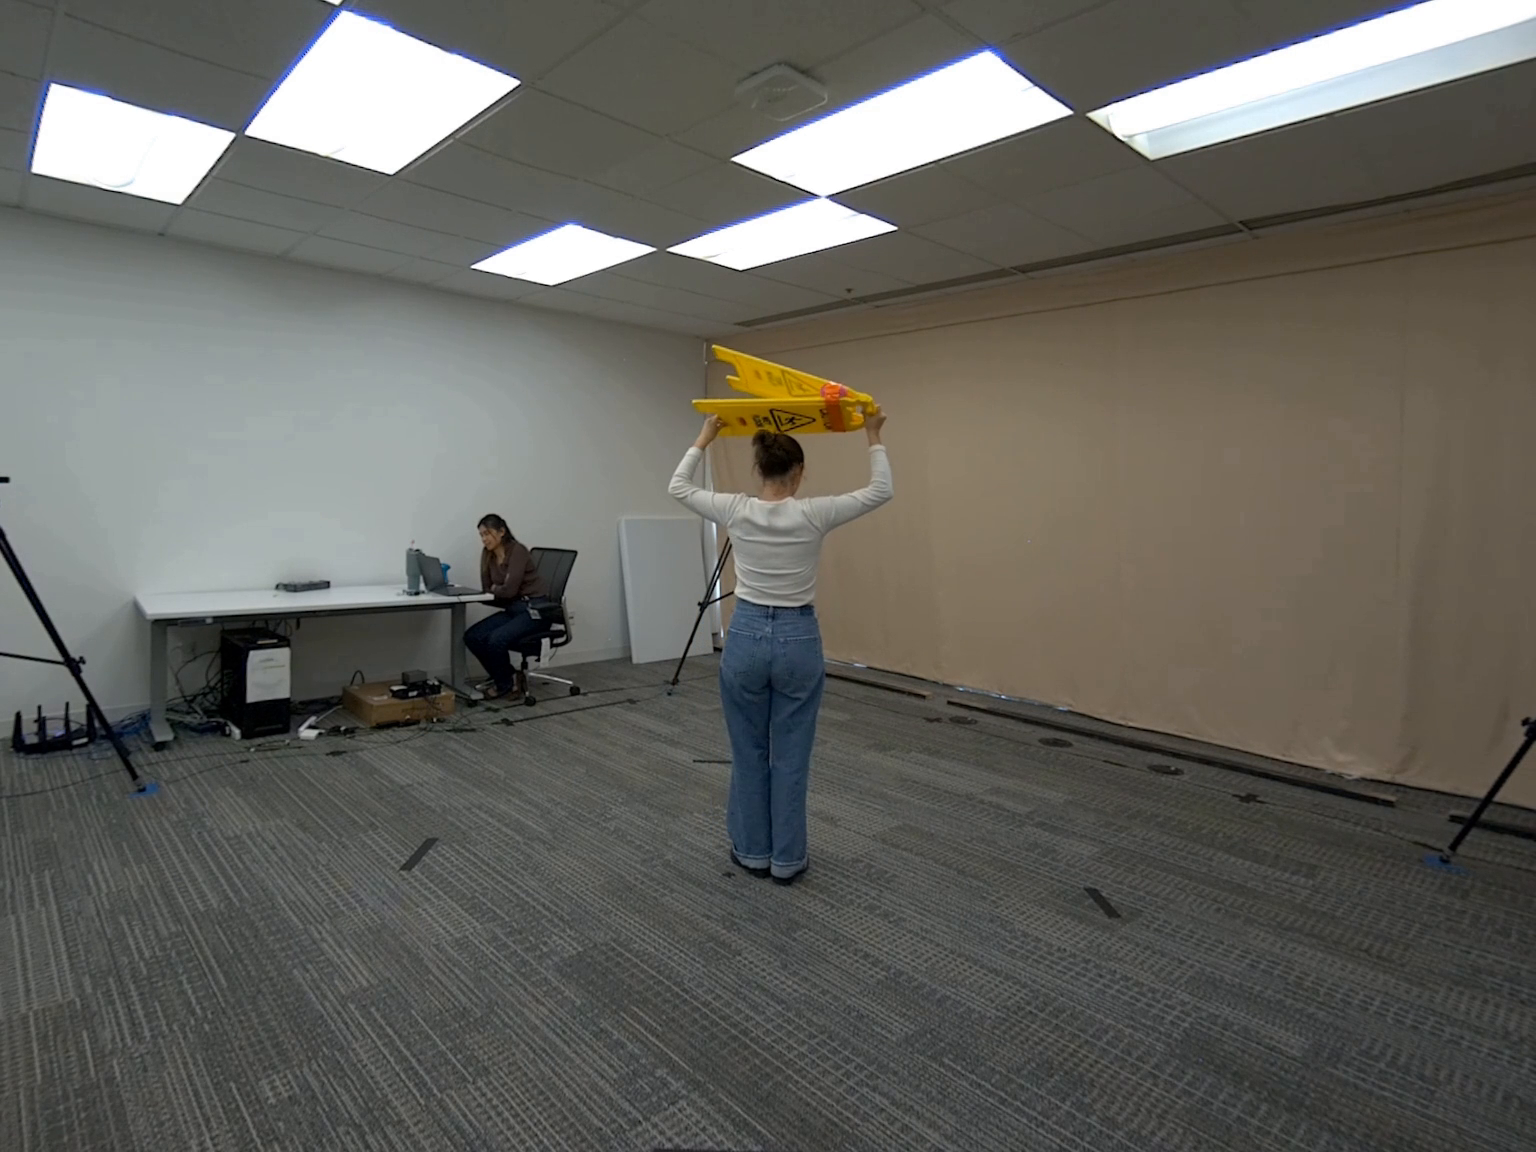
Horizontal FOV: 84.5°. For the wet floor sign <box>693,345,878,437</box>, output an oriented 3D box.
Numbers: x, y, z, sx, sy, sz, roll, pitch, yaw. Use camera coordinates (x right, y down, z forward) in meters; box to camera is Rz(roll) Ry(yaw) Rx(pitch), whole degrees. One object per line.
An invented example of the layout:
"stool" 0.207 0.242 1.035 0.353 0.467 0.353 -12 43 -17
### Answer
"wet floor sign" 0.081 -0.649 3.140 0.658 0.292 0.275 11 -18 20
